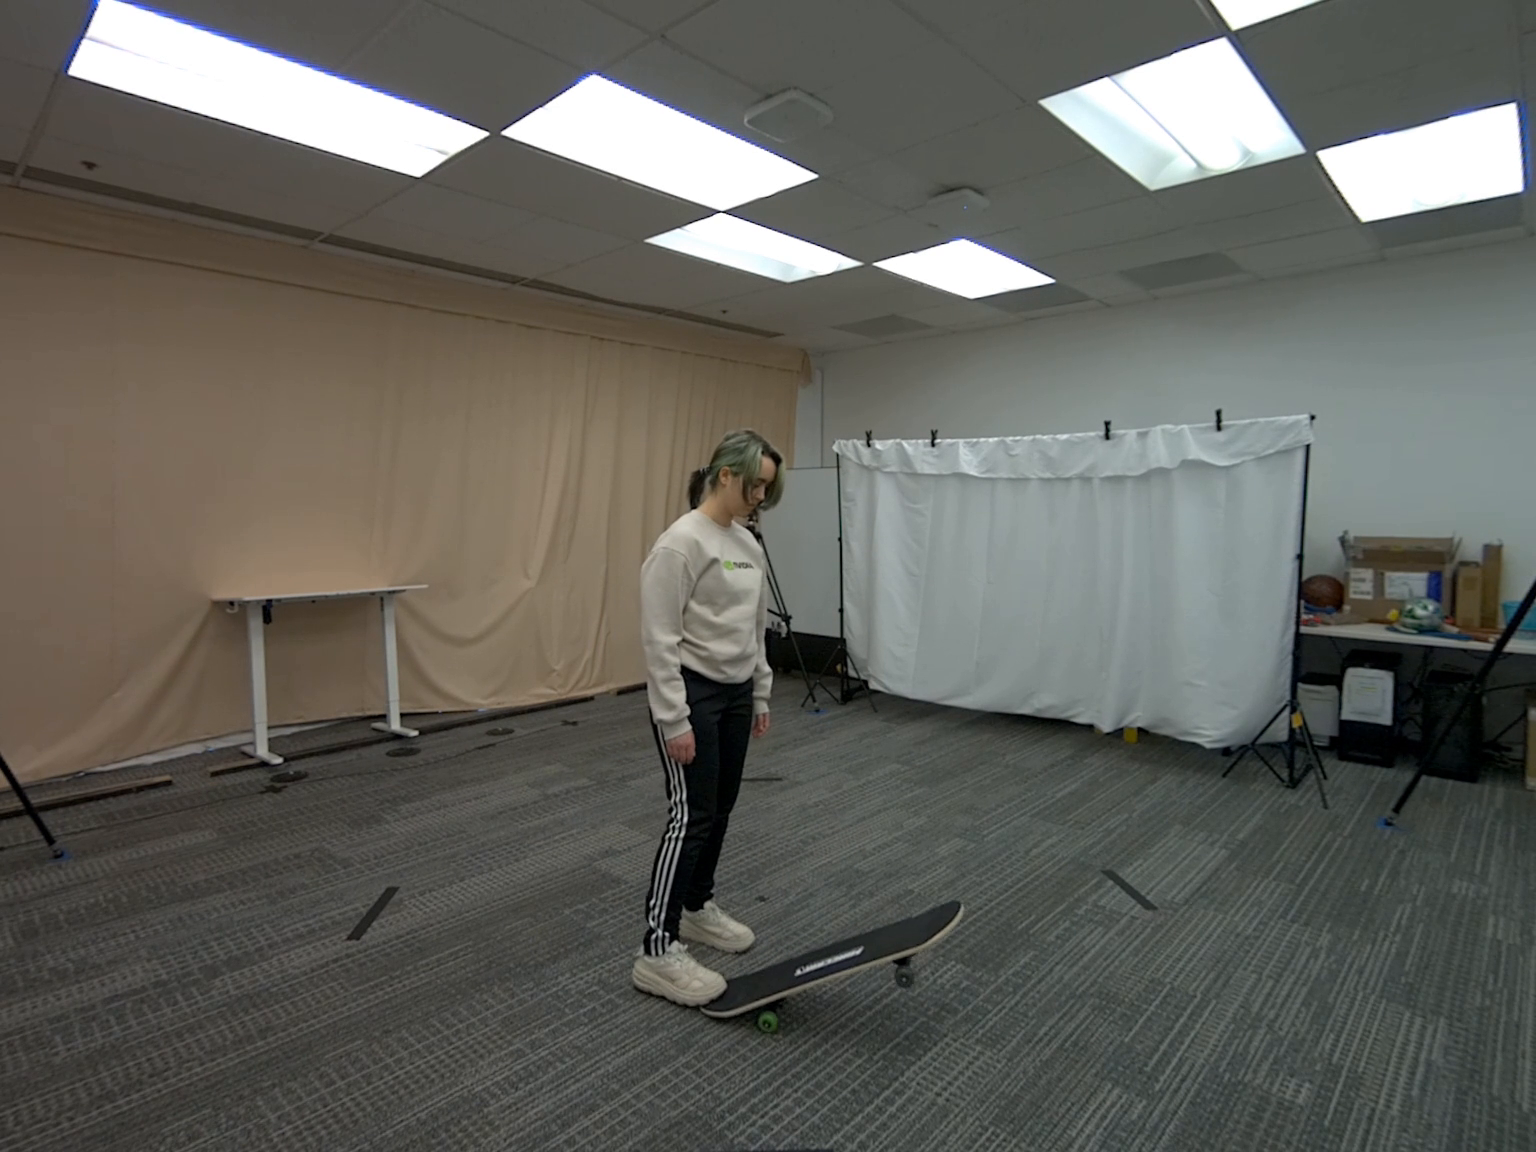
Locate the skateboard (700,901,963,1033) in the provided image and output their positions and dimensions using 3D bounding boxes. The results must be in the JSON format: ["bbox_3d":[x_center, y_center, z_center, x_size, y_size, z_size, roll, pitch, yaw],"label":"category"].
[{"bbox_3d":[0.175,1.063,2.250,0.793,0.111,0.190,-27,-4,16],"label":"skateboard"}]
